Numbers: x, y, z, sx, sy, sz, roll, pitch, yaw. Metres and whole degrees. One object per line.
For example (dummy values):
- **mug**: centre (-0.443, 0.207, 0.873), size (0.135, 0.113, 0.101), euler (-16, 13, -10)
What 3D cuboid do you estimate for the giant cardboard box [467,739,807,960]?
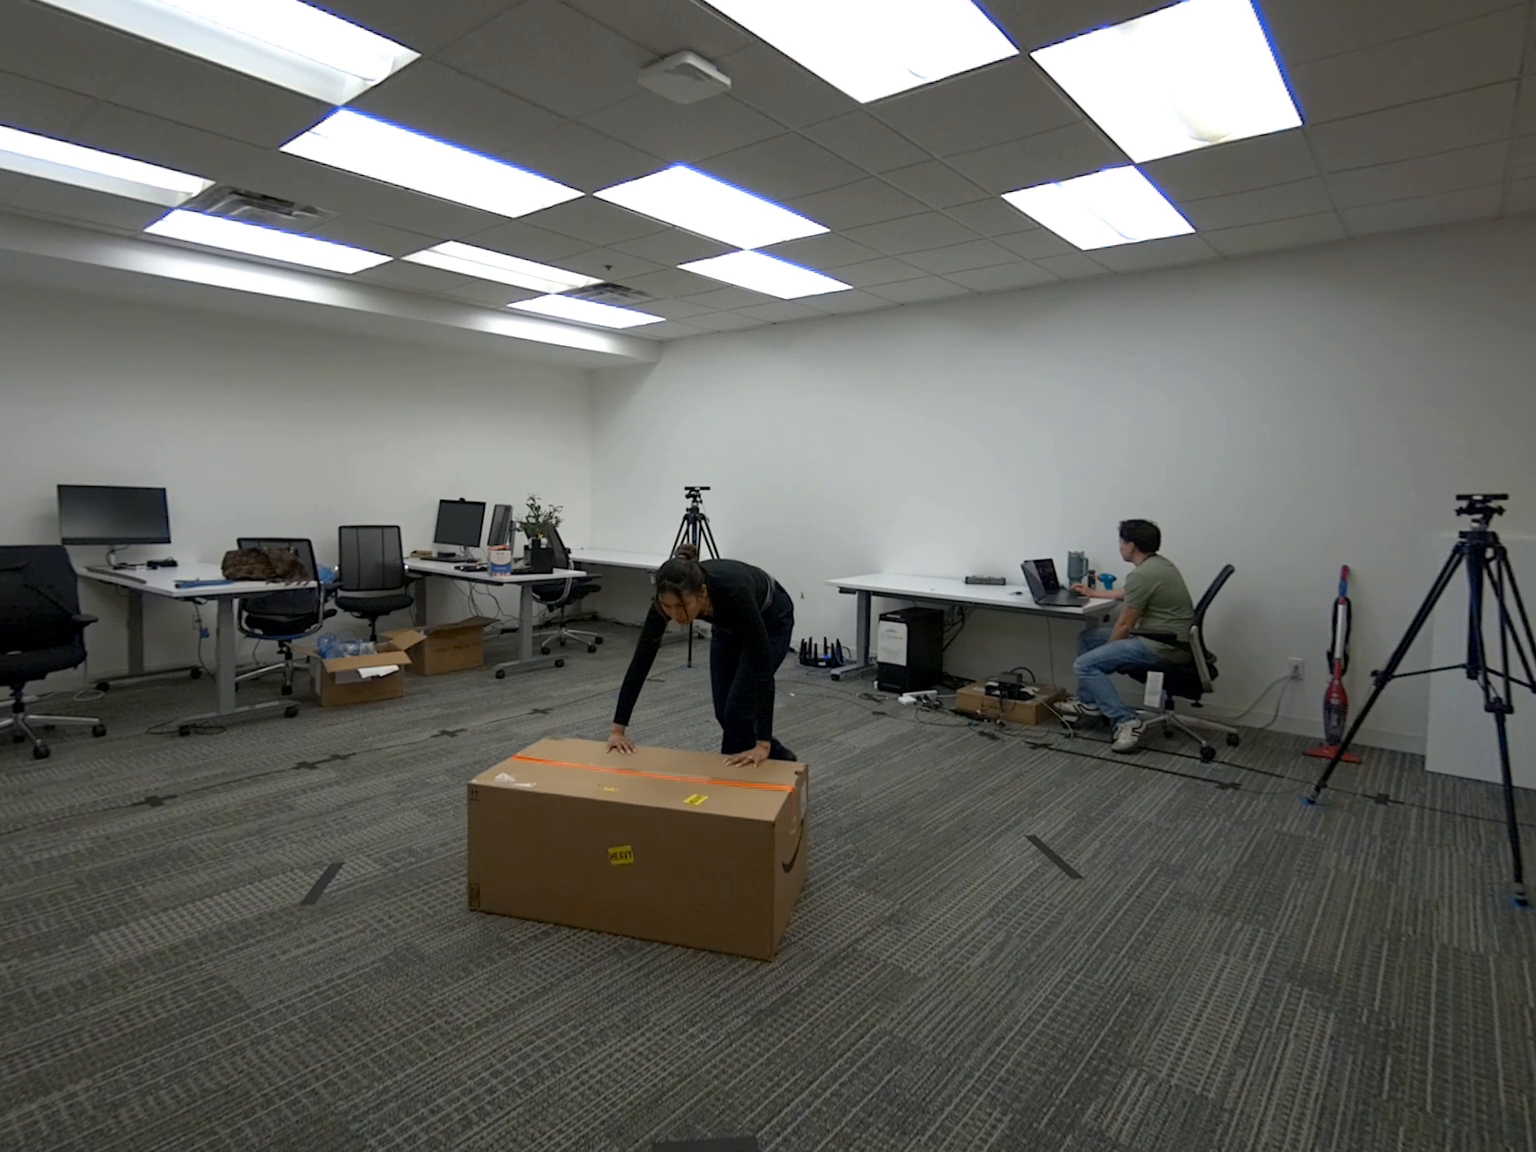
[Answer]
- **giant cardboard box**: centre (-0.427, 0.869, 2.893), size (1.043, 0.425, 0.569), euler (2, 4, 15)
